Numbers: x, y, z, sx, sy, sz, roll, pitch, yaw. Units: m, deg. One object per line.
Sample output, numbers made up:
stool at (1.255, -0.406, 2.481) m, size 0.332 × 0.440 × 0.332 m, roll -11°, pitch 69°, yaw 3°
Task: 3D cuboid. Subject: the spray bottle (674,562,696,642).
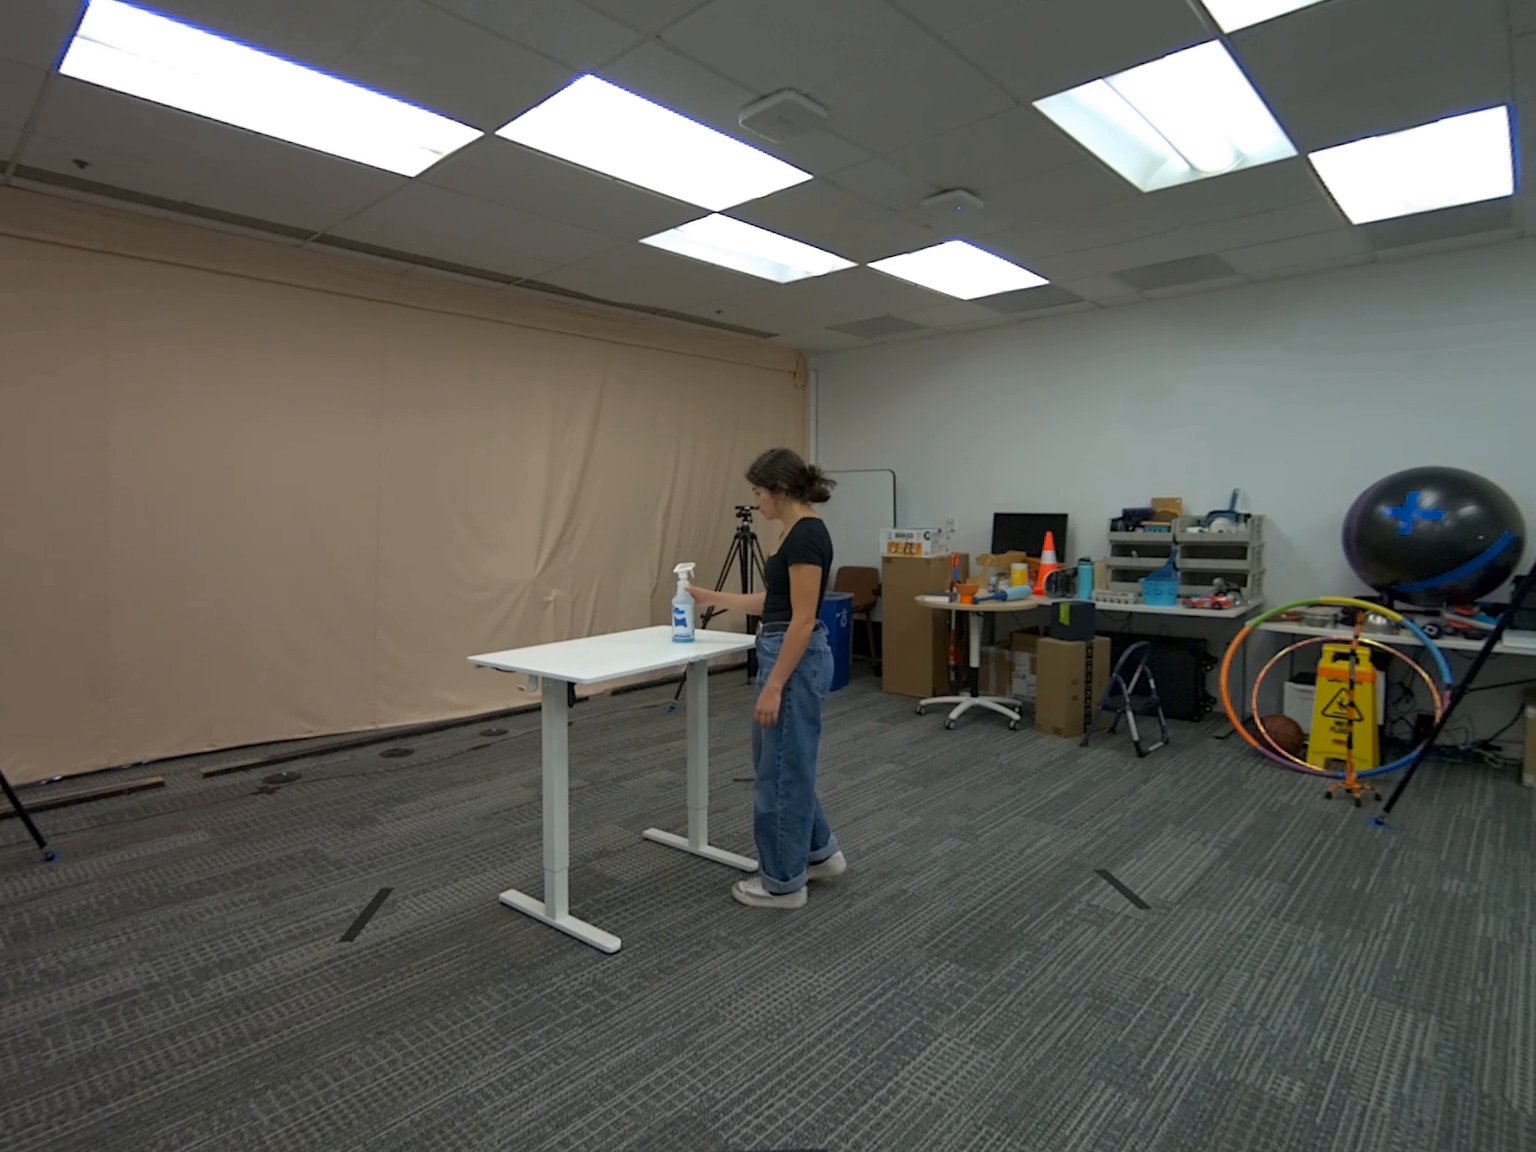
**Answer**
spray bottle at (-0.320, 0.103, 3.195) m, size 0.089 × 0.297 × 0.088 m, roll 1°, pitch 3°, yaw -12°
